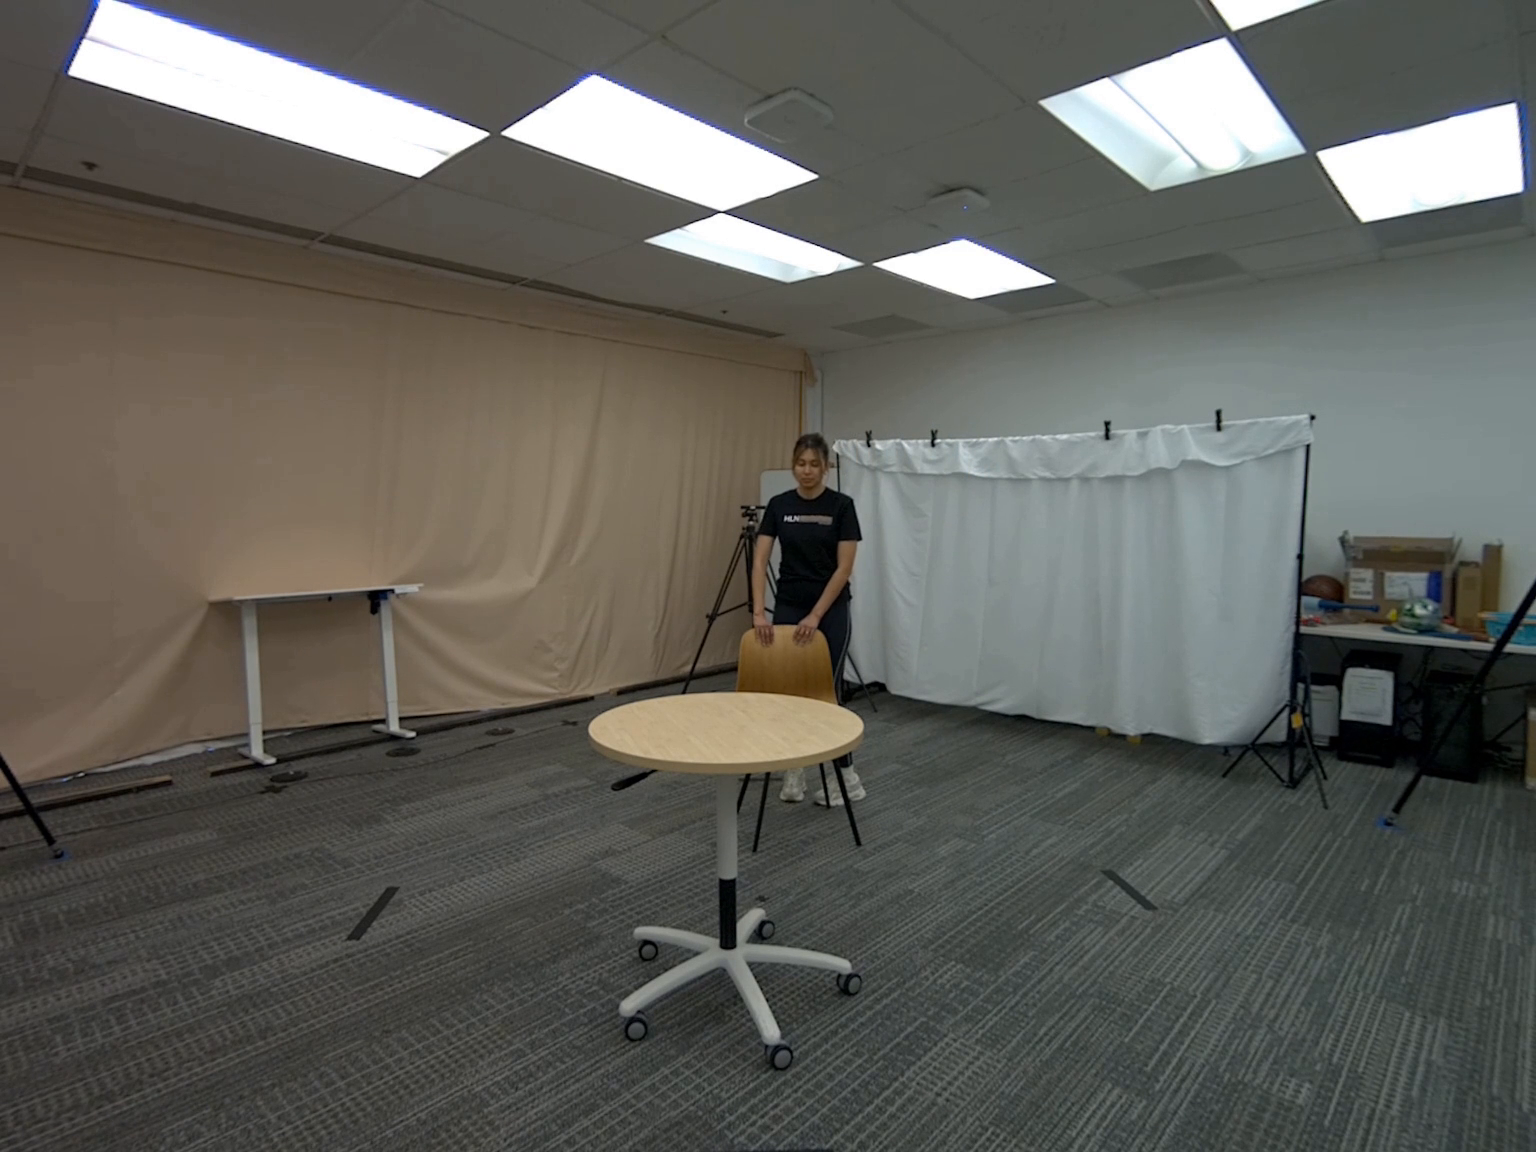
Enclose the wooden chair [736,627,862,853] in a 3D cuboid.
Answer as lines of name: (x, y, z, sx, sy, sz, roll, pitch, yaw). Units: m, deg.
wooden chair: (0.114, 0.666, 3.594, 0.473, 0.878, 0.528, 0, -1, -10)
